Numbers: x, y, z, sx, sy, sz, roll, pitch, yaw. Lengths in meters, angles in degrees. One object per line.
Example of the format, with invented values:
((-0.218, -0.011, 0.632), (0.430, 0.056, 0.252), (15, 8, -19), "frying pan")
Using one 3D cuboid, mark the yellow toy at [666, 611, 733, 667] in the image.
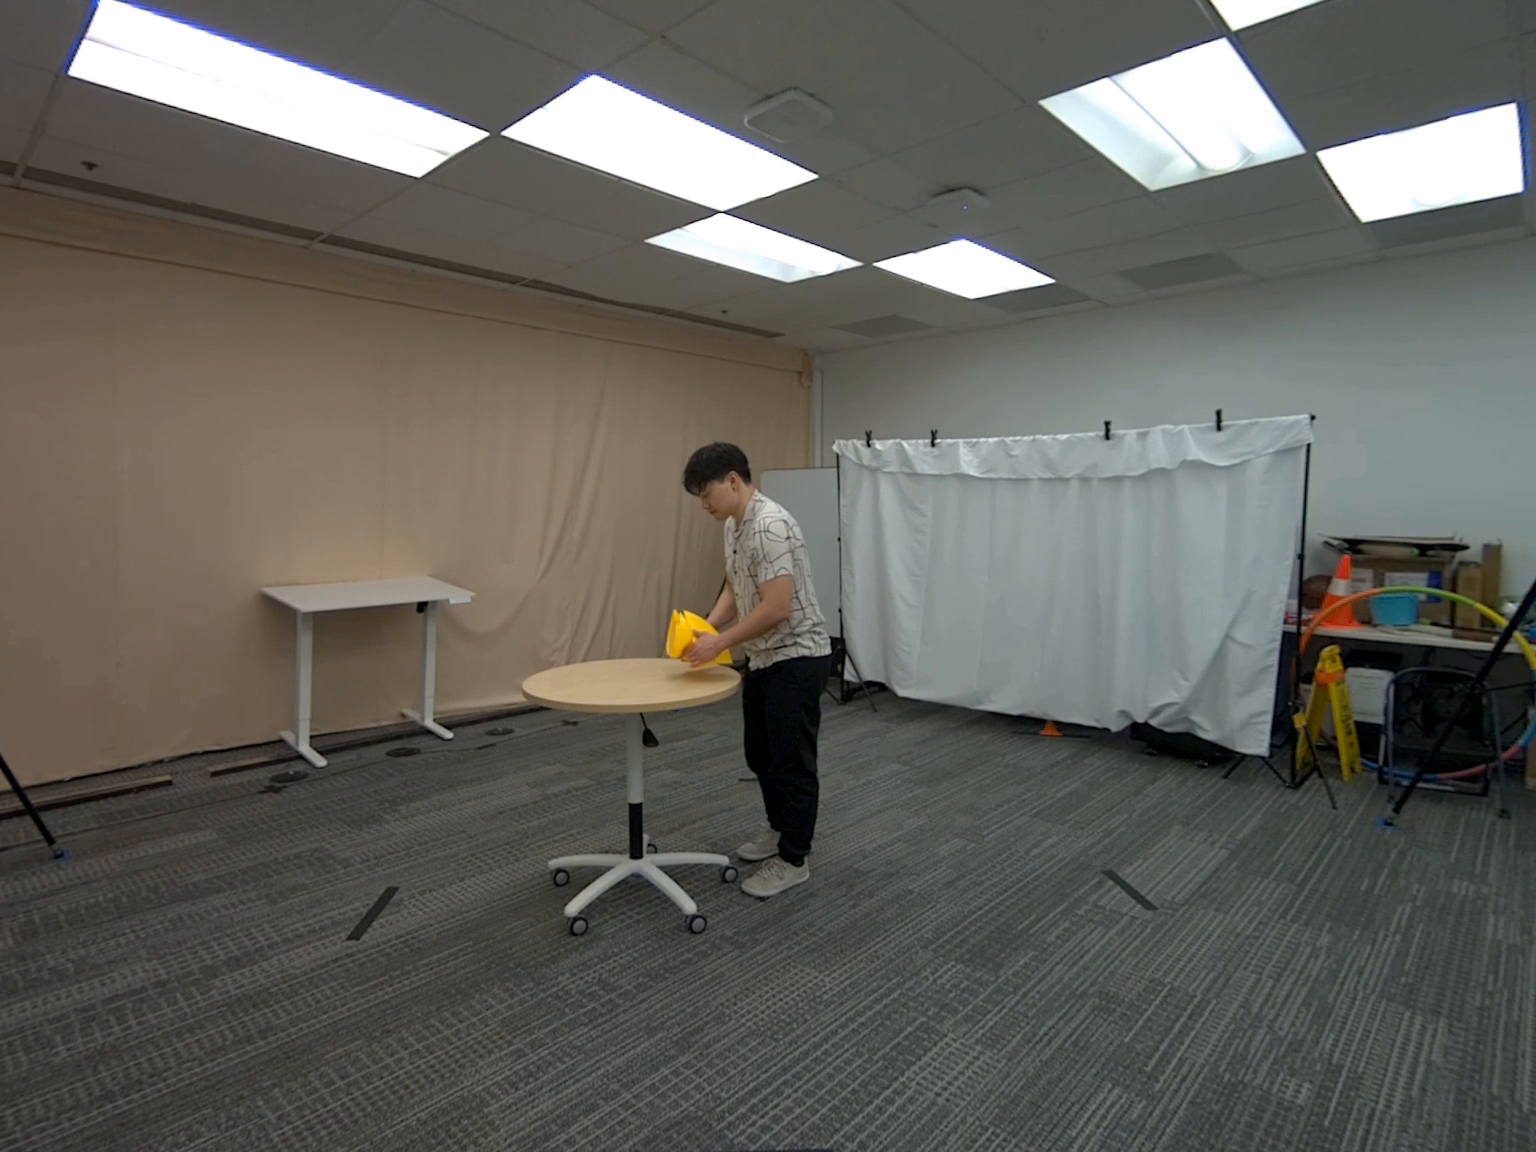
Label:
((-0.227, 0.234, 2.984), (0.228, 0.193, 0.207), (9, -2, -10), "yellow toy")
